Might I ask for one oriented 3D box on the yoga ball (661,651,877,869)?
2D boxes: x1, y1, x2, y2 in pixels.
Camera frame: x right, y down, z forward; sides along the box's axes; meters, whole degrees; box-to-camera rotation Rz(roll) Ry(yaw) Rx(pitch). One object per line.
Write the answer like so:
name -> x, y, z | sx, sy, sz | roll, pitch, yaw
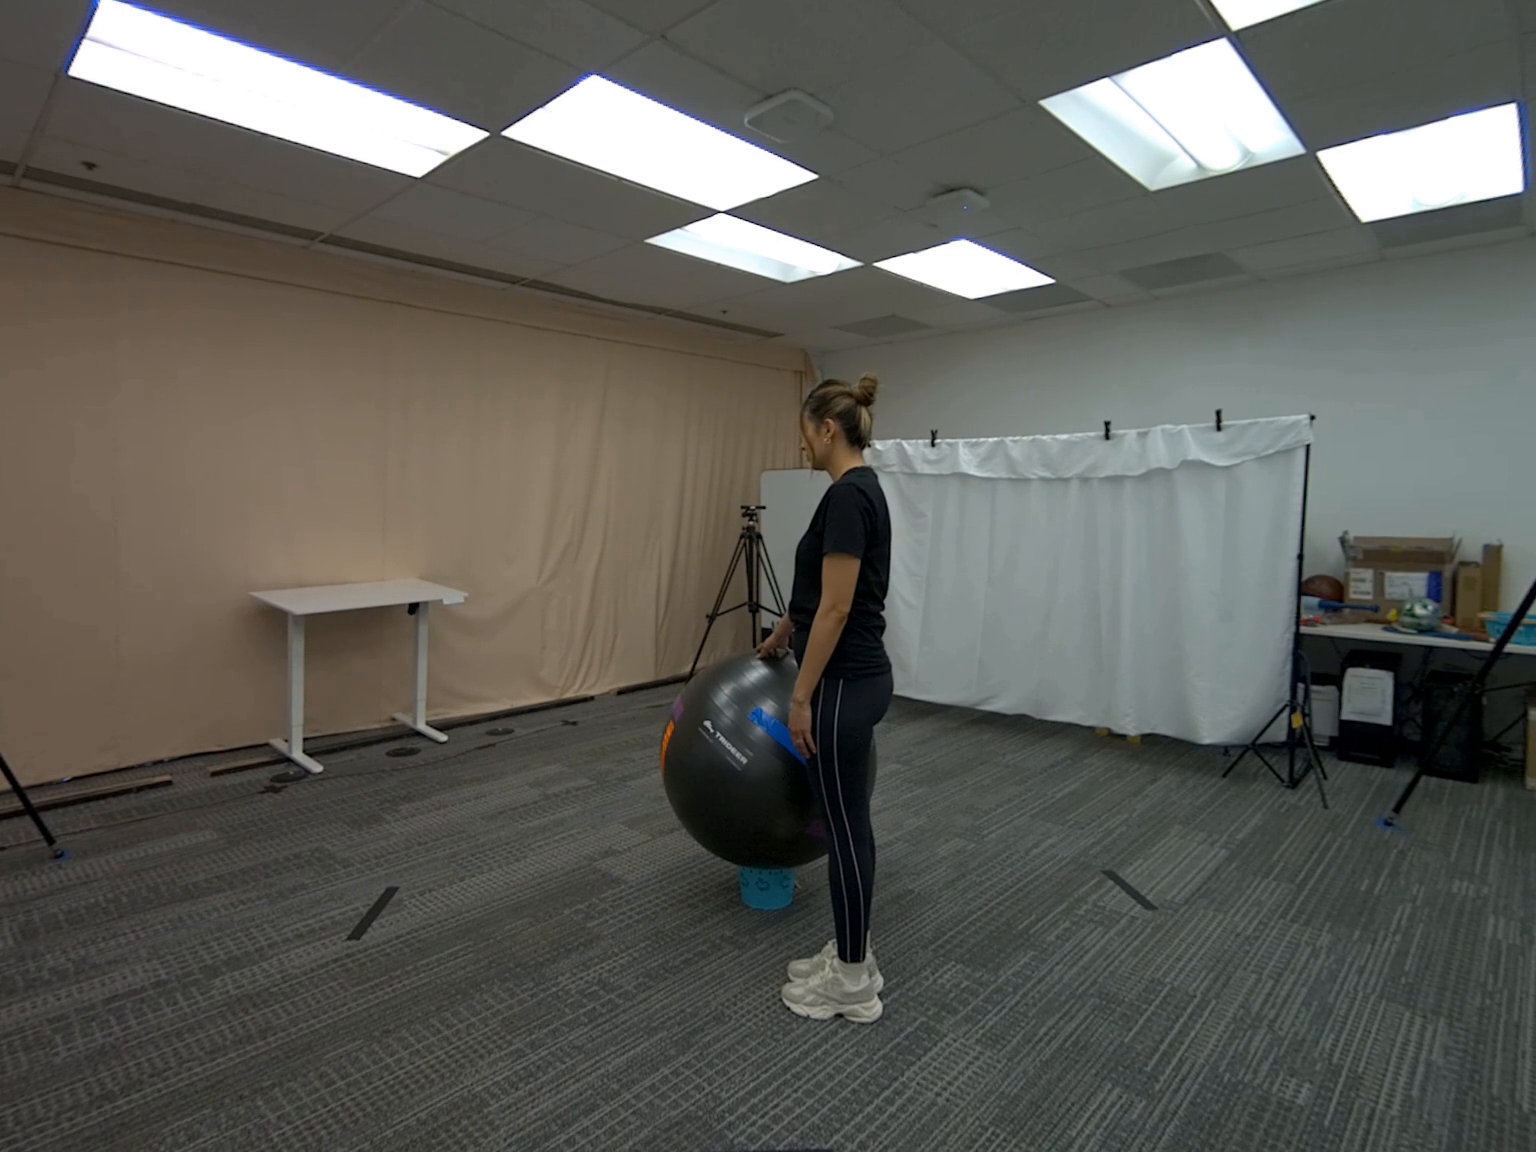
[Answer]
yoga ball -> 0.006, 0.636, 2.966 | 0.757, 0.756, 0.760 | 0, 4, -2
